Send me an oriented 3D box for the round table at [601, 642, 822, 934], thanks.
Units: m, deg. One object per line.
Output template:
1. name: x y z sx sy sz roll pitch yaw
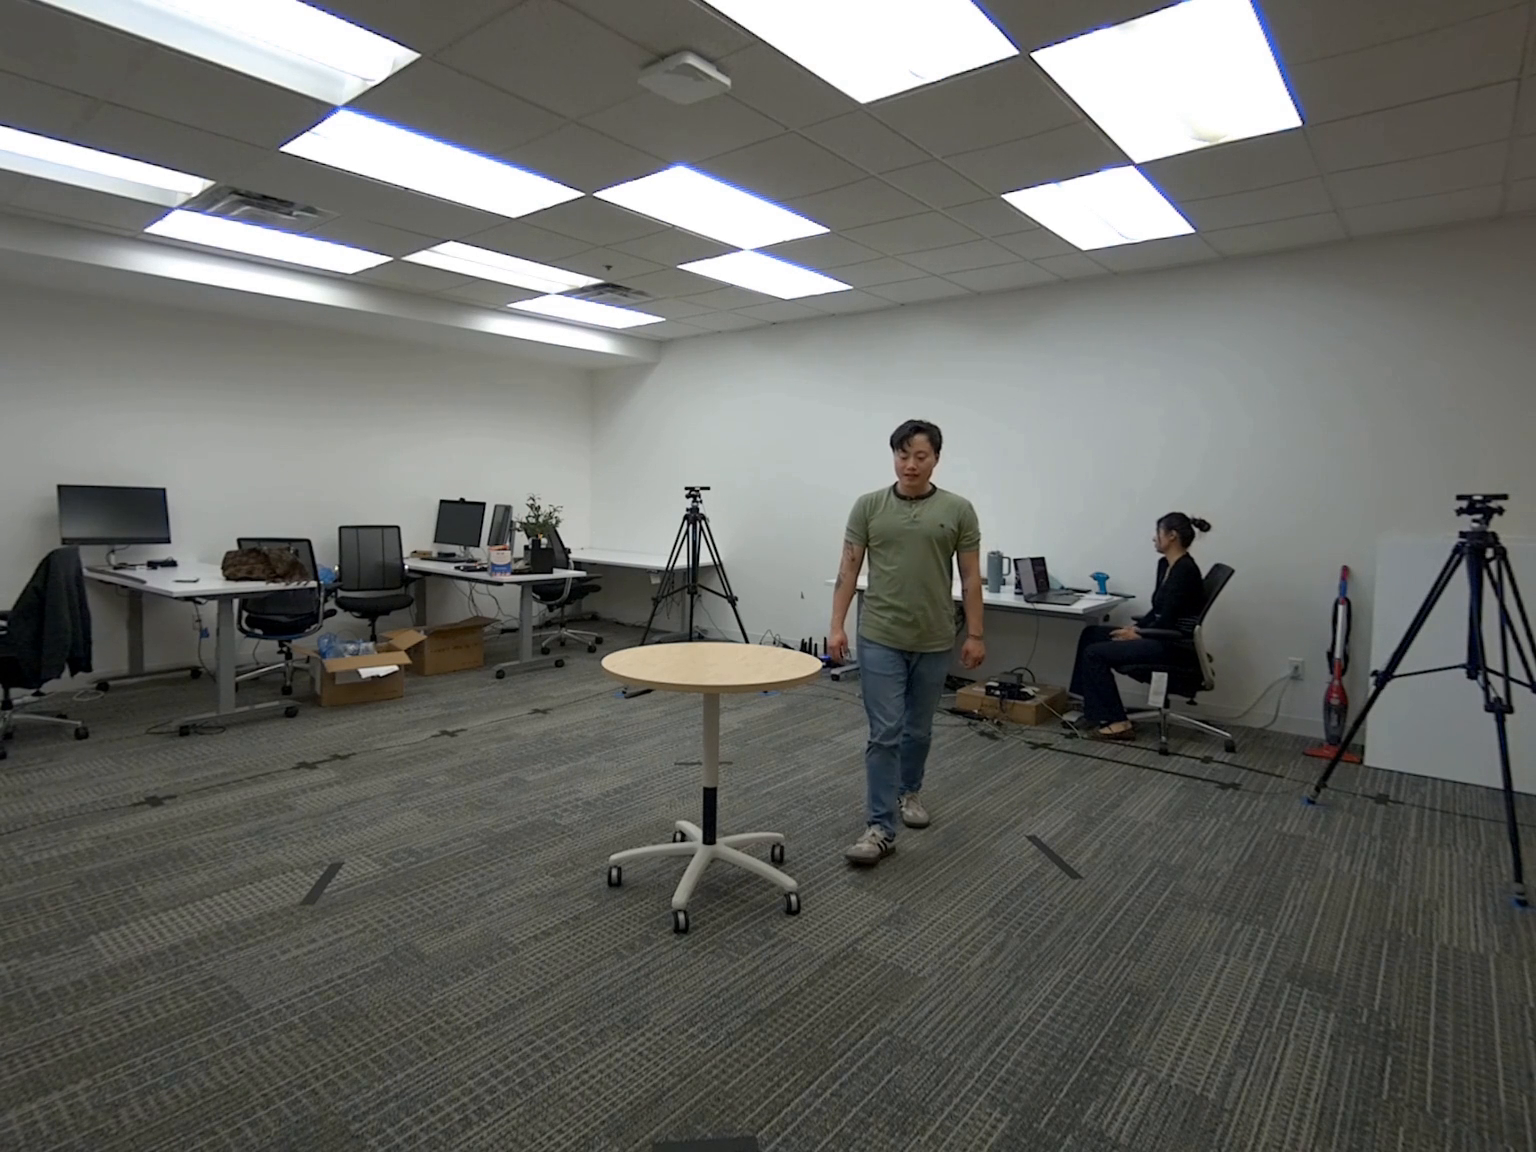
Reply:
1. round table: -0.215 0.687 2.980 0.763 0.792 0.767 1 4 -2
